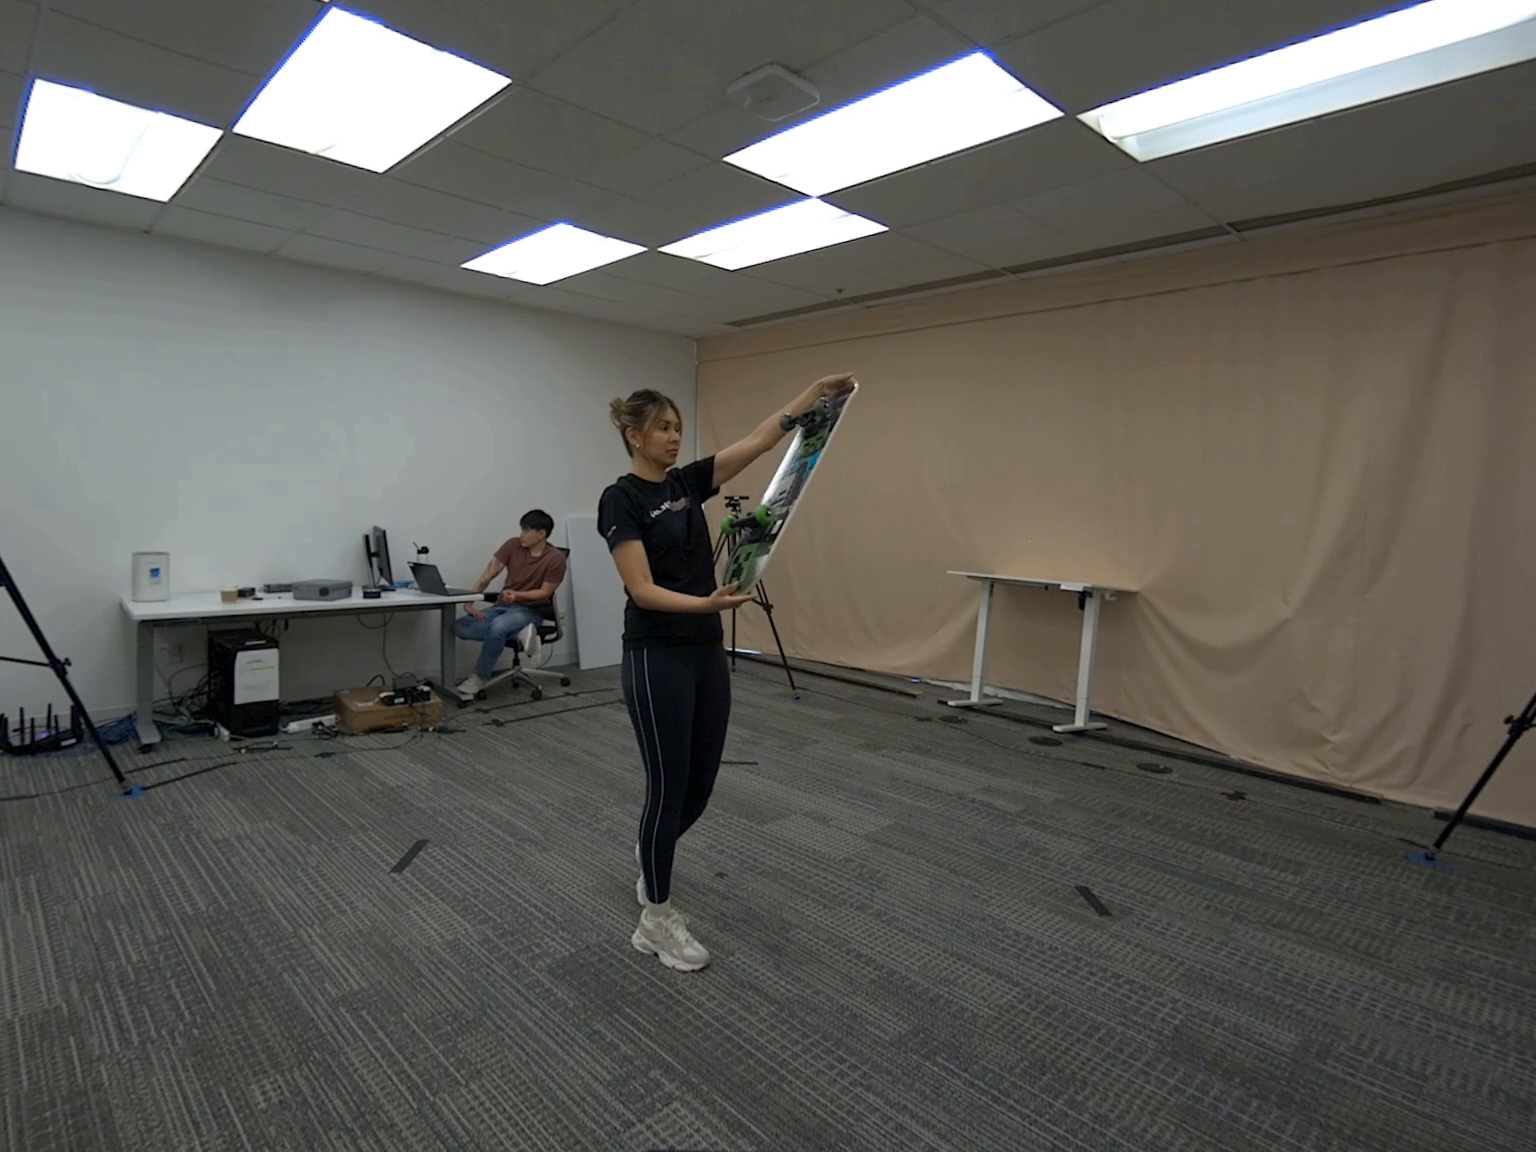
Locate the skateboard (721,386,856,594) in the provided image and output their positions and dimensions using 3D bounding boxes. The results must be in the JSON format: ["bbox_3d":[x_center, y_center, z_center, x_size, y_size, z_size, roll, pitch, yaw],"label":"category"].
[{"bbox_3d":[0.042,-0.287,2.299,0.107,0.790,0.197,42,-29,-27],"label":"skateboard"}]
